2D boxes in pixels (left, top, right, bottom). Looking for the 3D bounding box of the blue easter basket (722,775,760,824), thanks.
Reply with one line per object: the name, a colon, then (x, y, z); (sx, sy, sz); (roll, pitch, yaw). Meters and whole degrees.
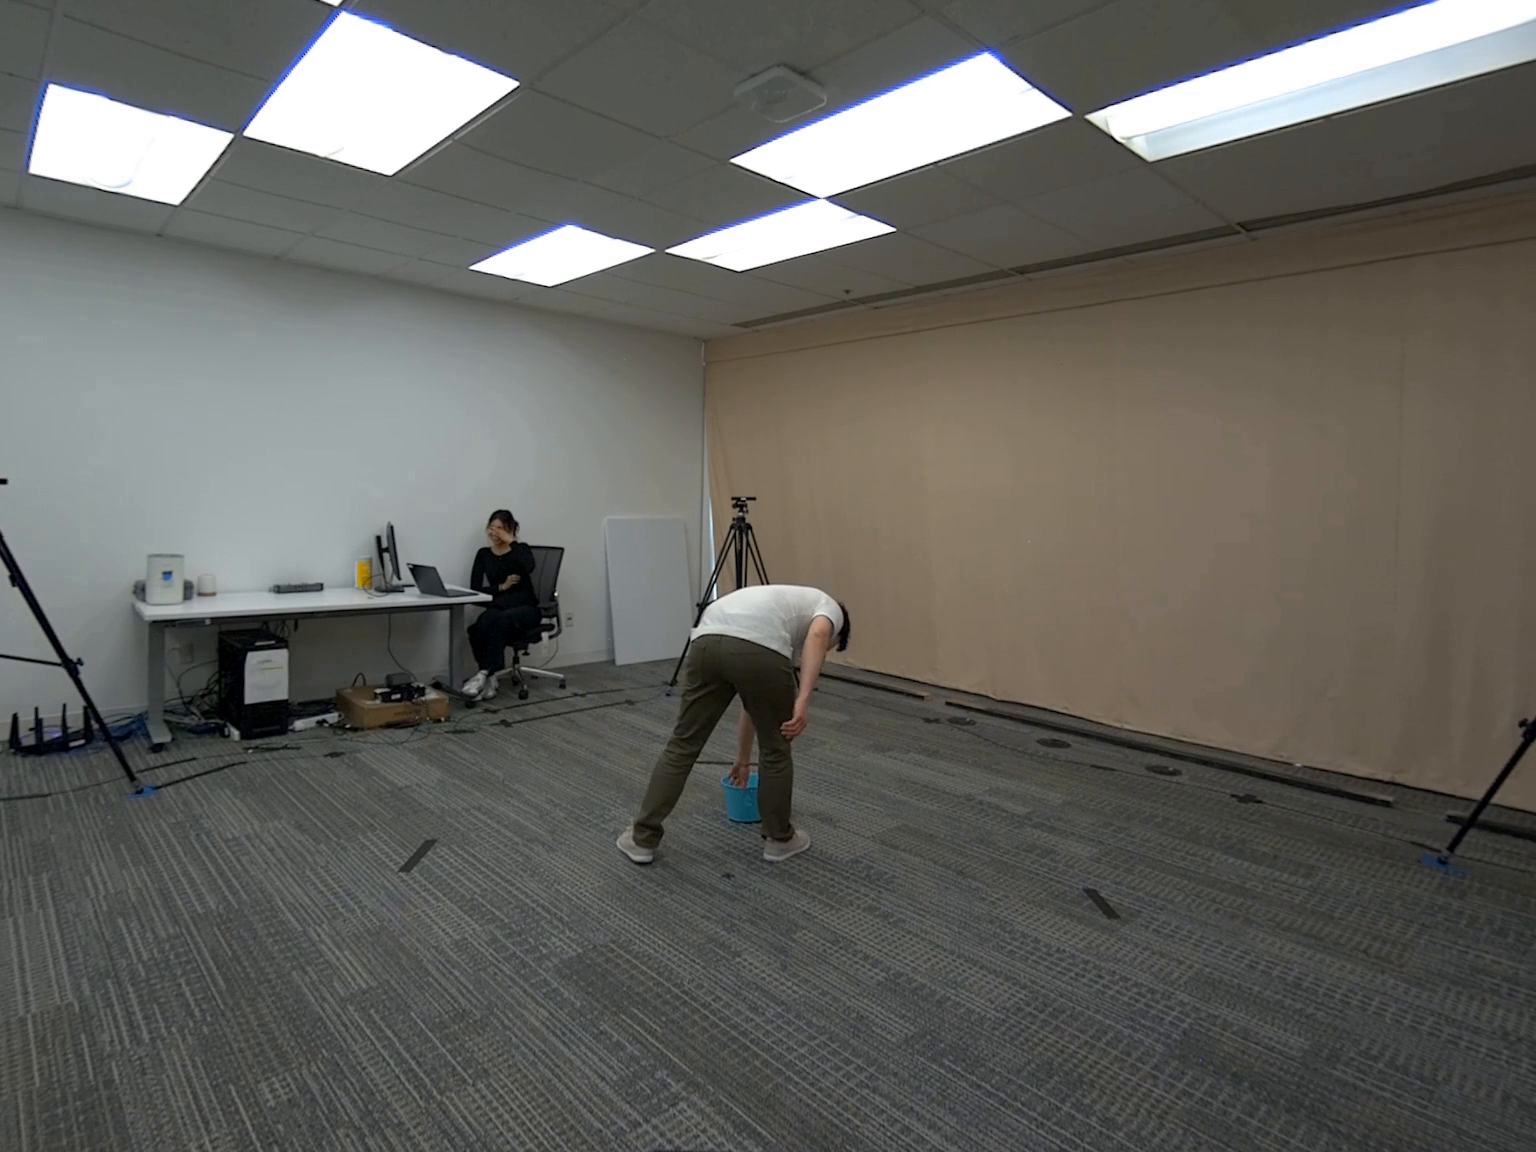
blue easter basket: (-0.106, 0.972, 3.704); (0.243, 0.155, 0.244); (-1, 4, -1)
